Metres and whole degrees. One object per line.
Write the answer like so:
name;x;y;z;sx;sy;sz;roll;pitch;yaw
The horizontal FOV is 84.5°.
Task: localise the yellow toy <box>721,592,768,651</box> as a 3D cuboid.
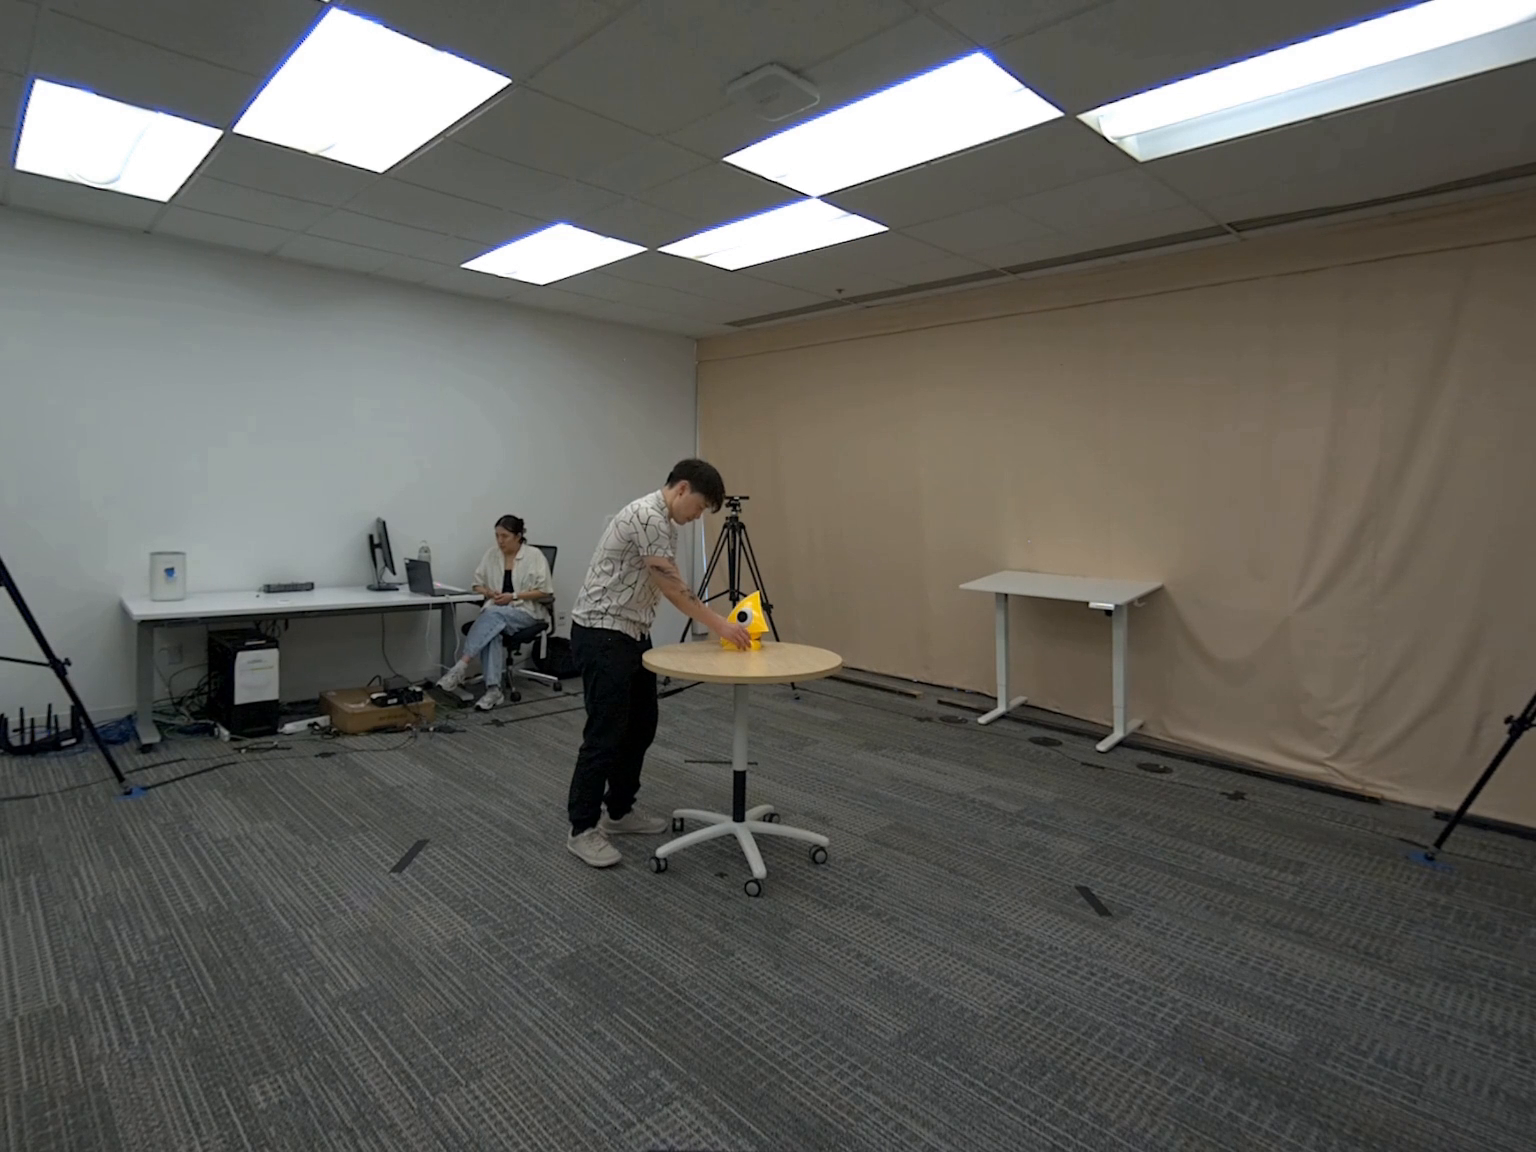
yellow toy;-0.120;0.179;3.470;0.192;0.230;0.206;-2;3;-8
